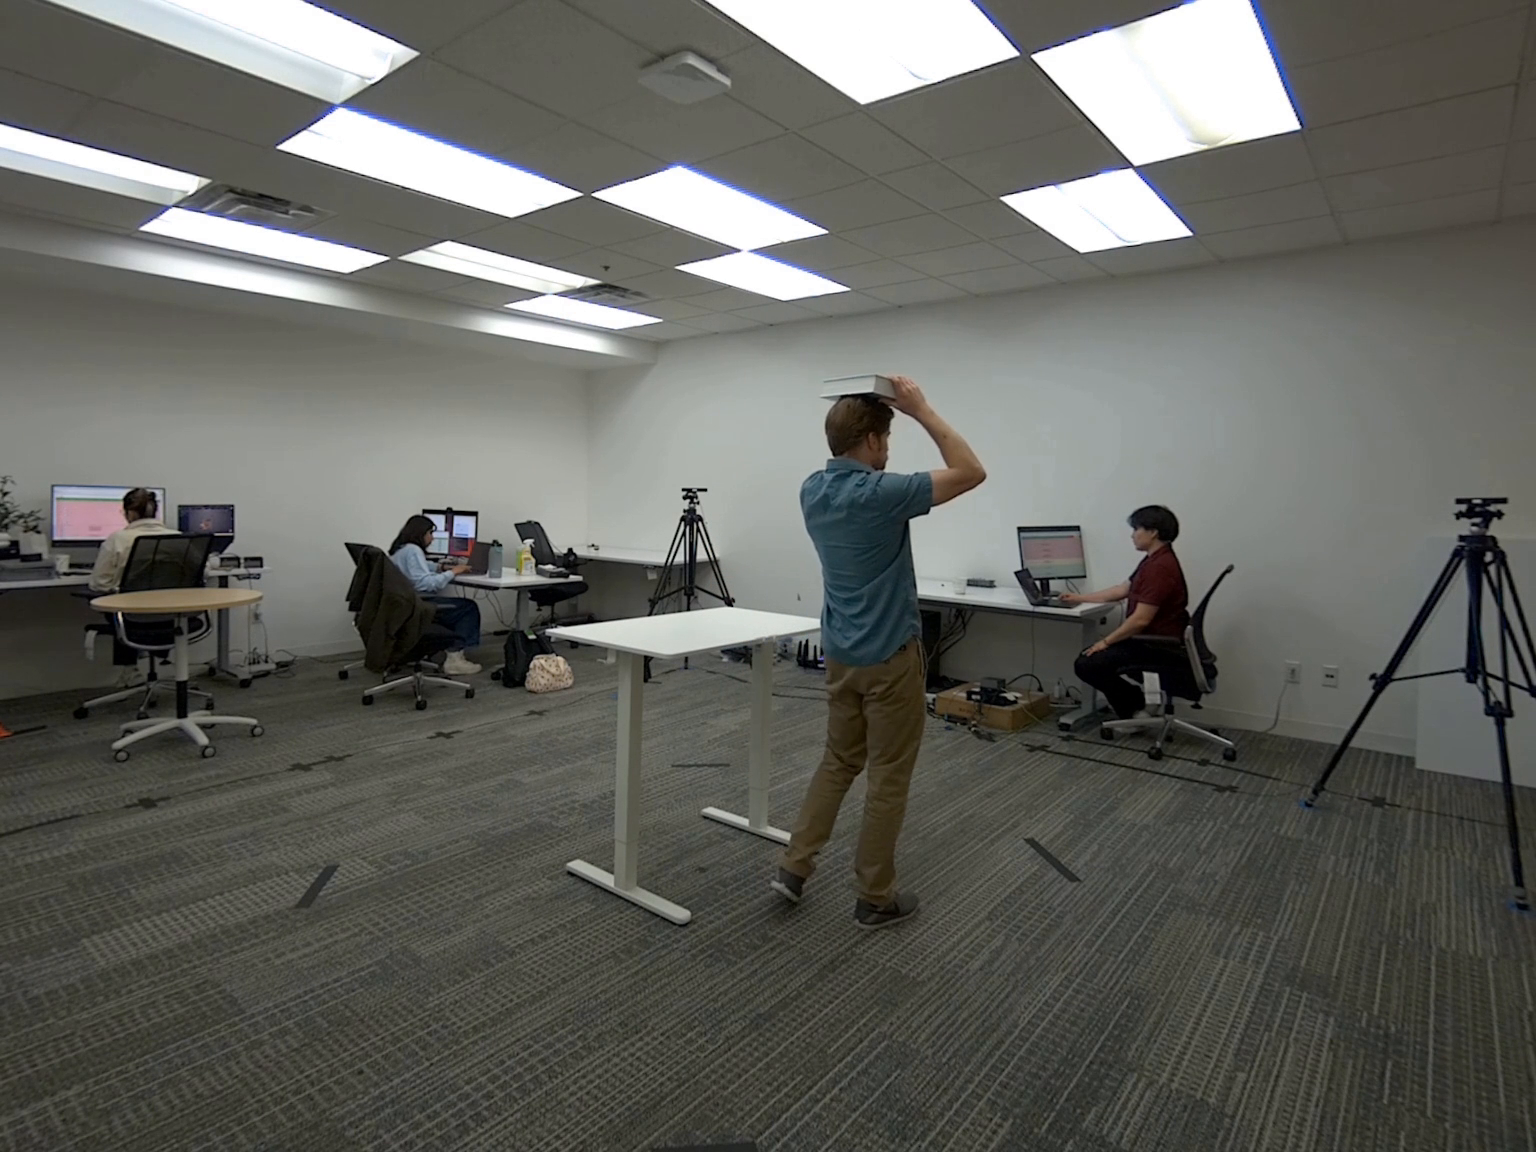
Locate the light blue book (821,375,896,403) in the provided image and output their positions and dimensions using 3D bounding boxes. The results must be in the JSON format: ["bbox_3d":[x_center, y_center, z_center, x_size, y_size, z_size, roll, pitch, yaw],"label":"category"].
[{"bbox_3d":[0.312,-0.594,2.744,0.185,0.059,0.269,7,3,-32],"label":"light blue book"}]
